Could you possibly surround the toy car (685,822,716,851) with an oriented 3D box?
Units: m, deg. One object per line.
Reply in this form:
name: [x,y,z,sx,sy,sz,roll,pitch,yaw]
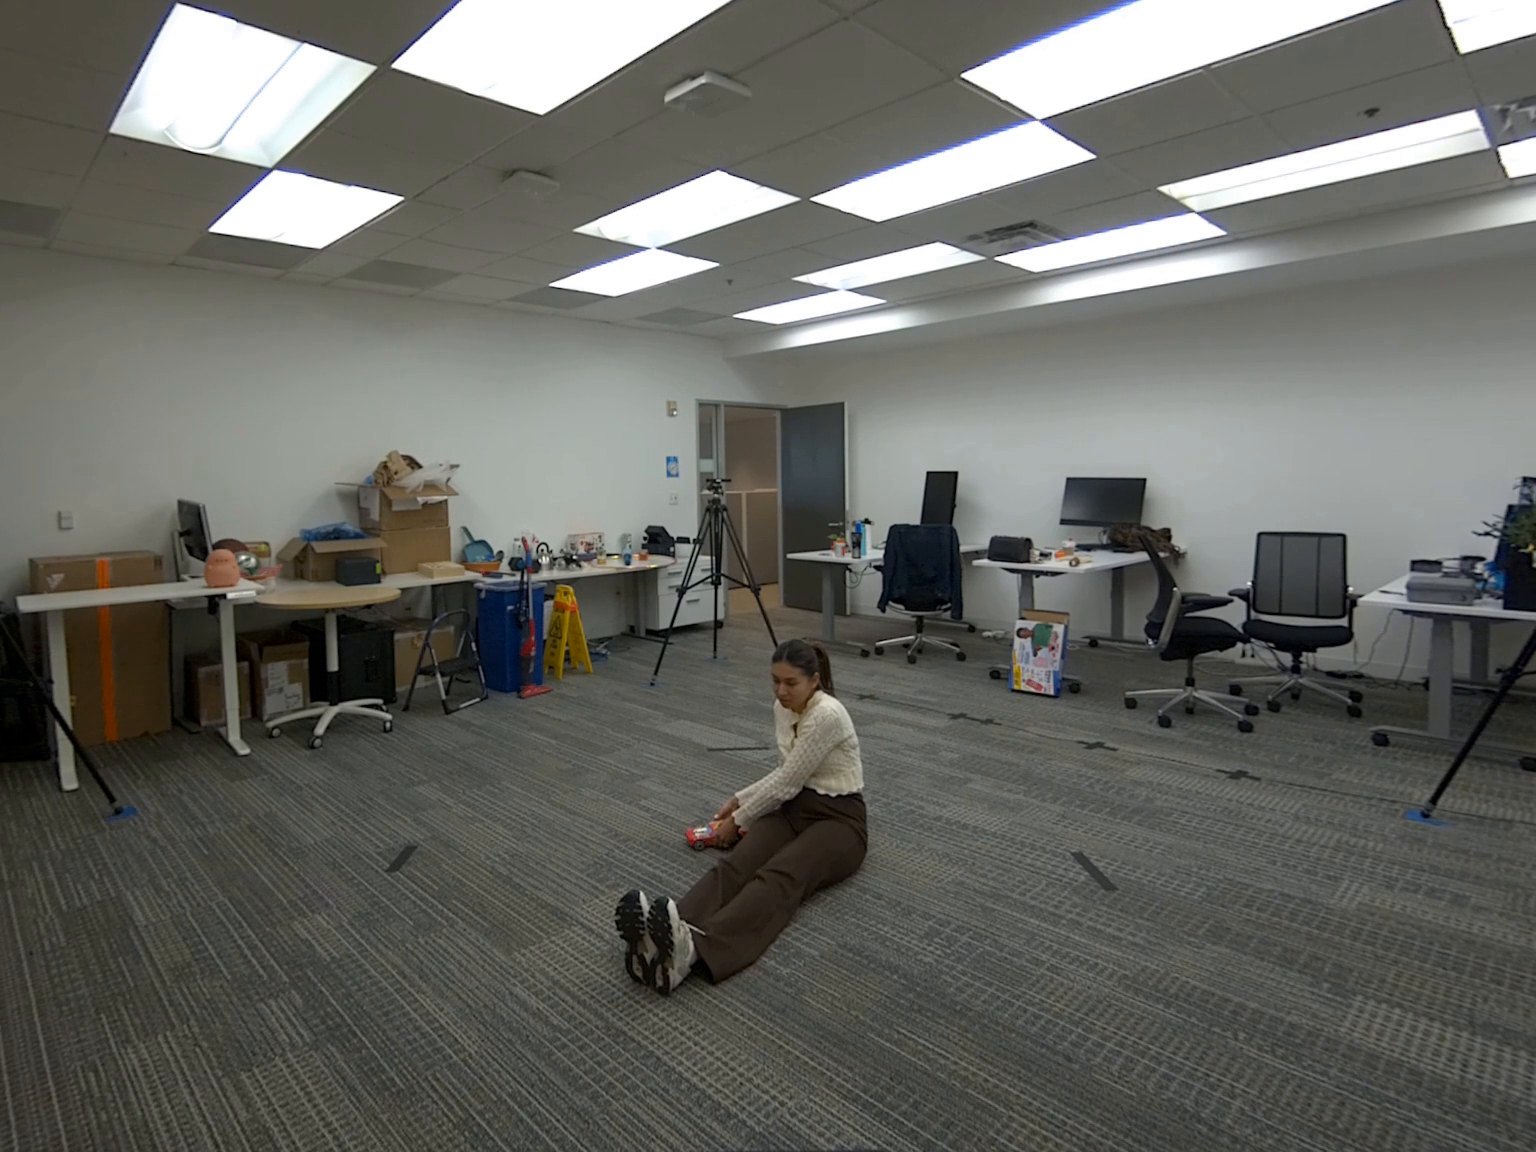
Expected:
toy car: [-0.188,0.996,3.298,0.251,0.082,0.133,-10,10,-18]
